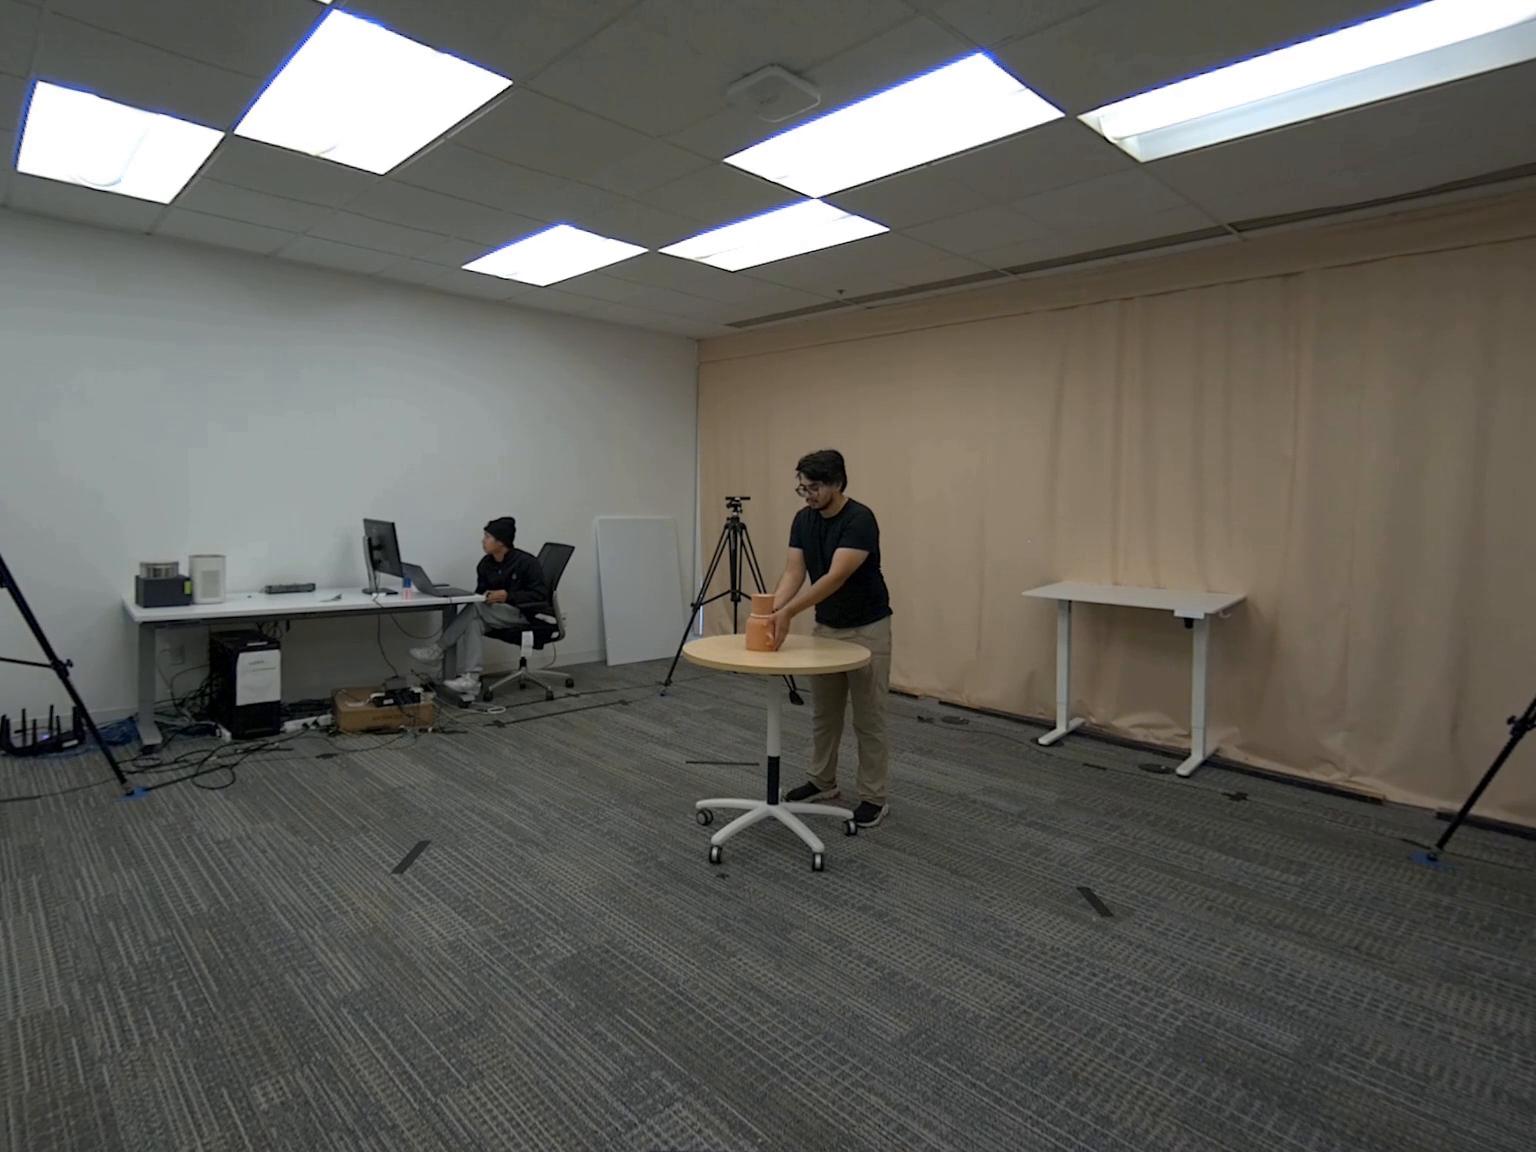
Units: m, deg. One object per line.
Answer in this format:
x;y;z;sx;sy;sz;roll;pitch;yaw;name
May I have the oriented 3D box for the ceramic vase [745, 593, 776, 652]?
-0.029;0.188;3.442;0.162;0.219;0.132;3;4;28;ceramic vase
